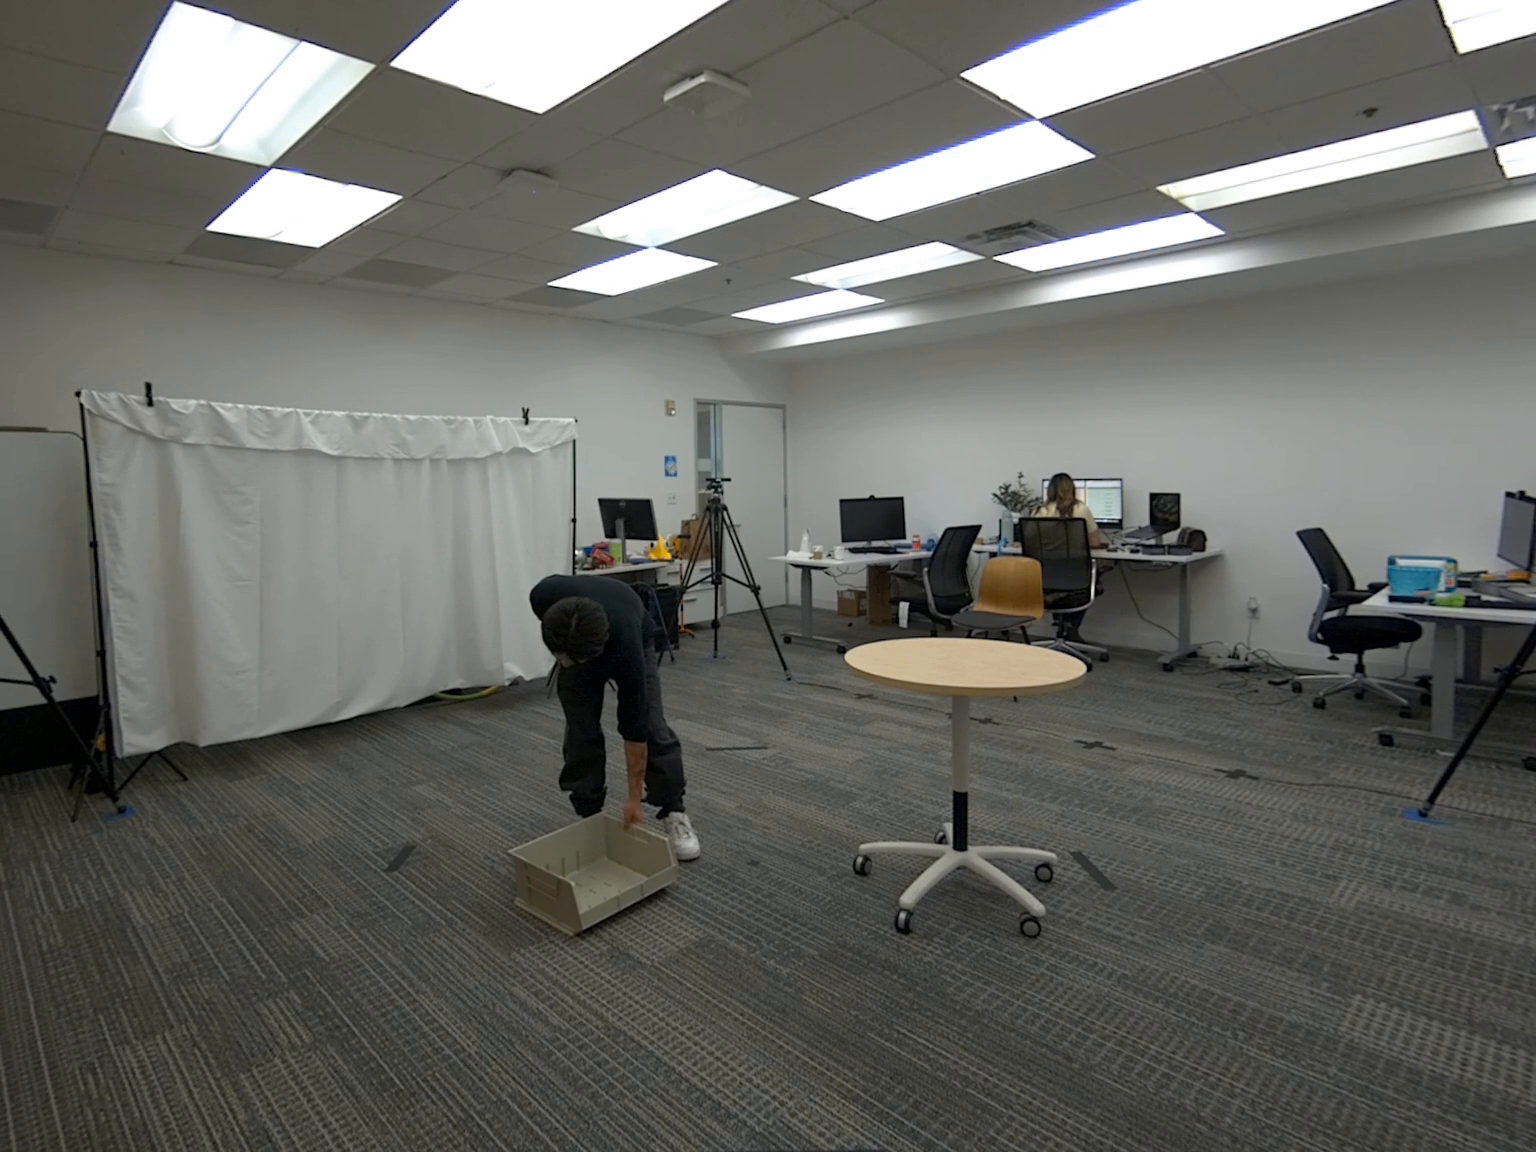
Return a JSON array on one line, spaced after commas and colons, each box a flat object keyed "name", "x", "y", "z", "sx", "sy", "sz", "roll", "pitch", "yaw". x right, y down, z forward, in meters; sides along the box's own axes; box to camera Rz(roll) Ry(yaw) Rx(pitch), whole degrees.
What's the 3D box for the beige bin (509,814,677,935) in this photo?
[{"name": "beige bin", "x": -0.580, "y": 0.984, "z": 2.862, "sx": 0.389, "sy": 0.188, "sz": 0.412, "roll": 4, "pitch": 10, "yaw": 41}]
